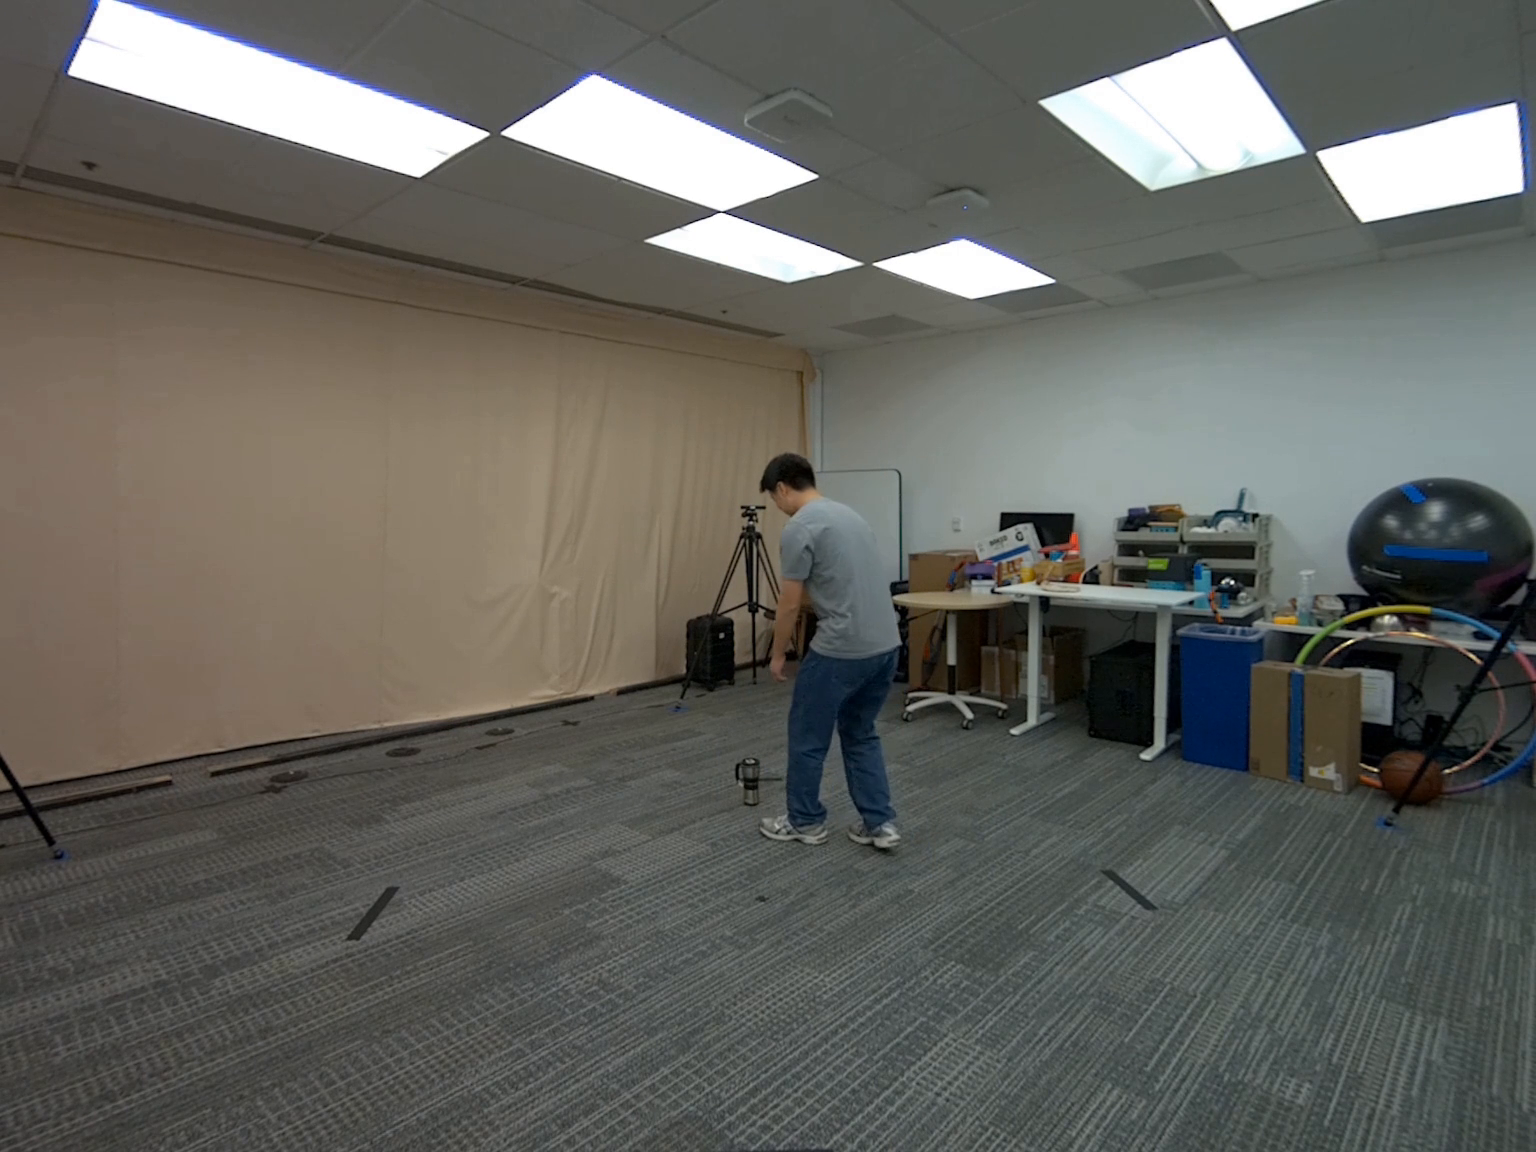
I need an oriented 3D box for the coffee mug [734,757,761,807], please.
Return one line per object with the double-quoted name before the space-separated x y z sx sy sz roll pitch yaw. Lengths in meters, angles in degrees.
"coffee mug" -0.091 0.965 3.960 0.126 0.202 0.085 5 8 40
